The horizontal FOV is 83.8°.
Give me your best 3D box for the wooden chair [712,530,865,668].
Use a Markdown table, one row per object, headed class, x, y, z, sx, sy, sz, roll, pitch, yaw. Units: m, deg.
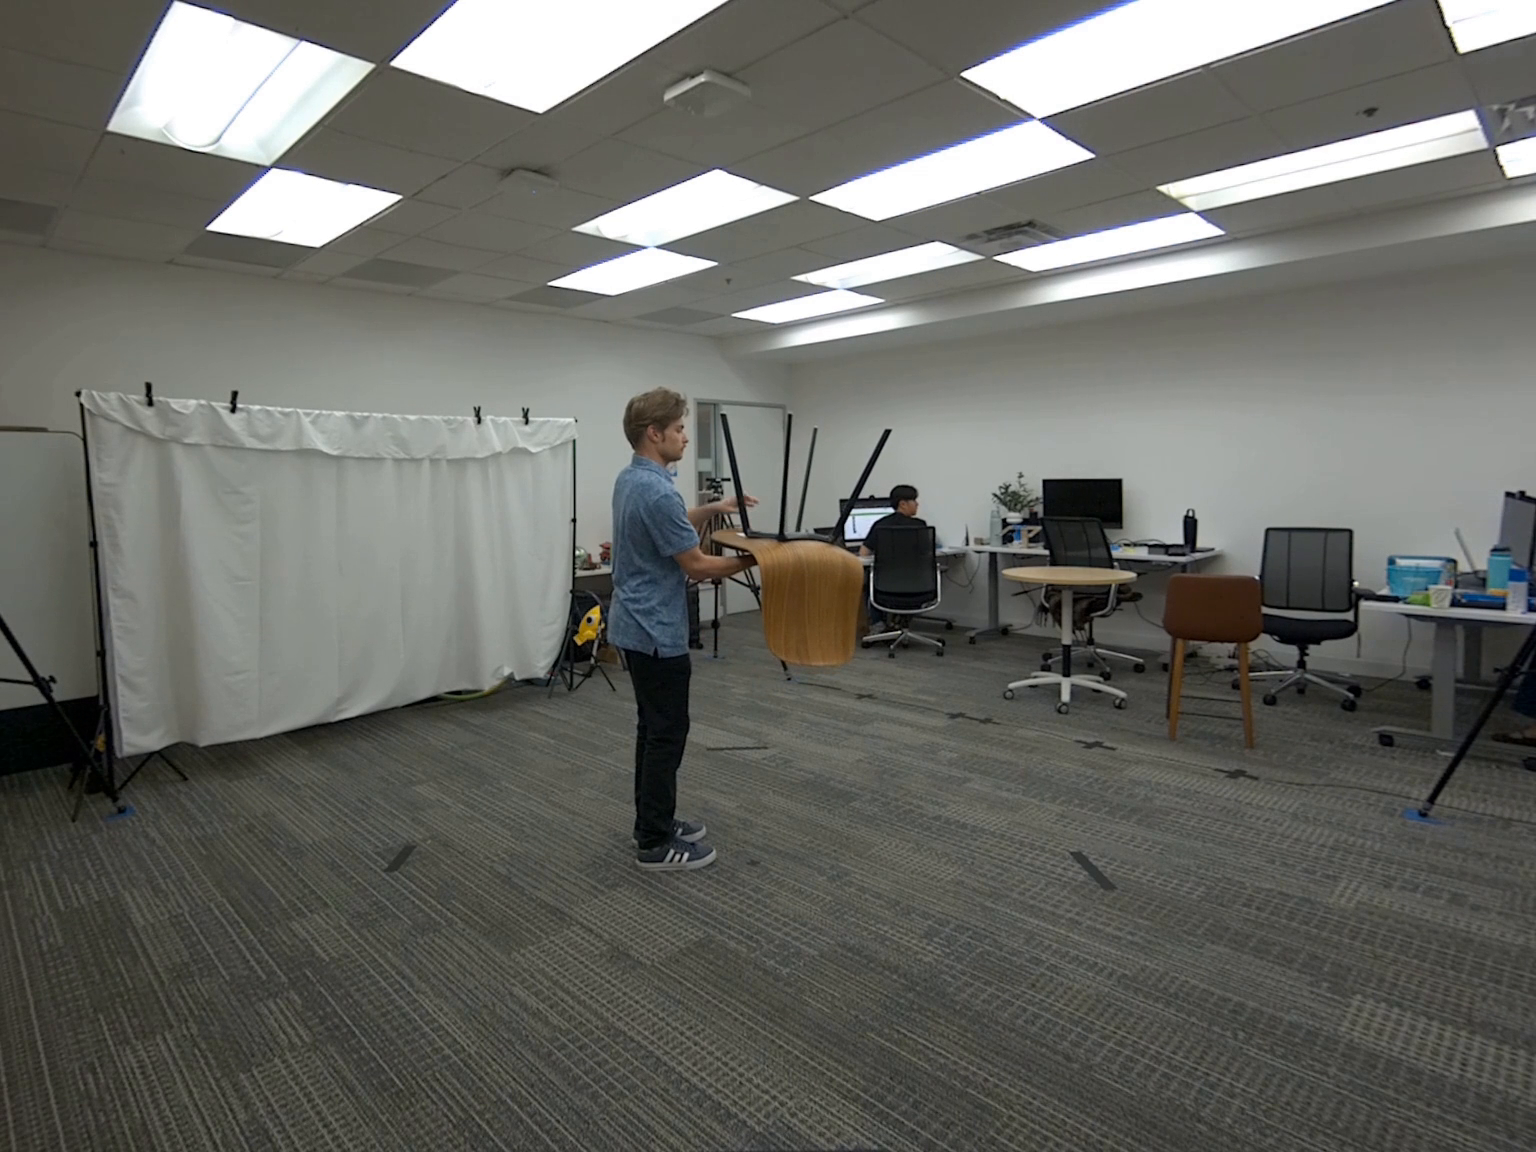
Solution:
| class | x | y | z | sx | sy | sz | roll | pitch | yaw |
| --- | --- | --- | --- | --- | --- | --- | --- | --- | --- |
| wooden chair | 0.082 | -0.144 | 3.162 | 0.465 | 0.876 | 0.538 | 3 | 2 | -33 |
